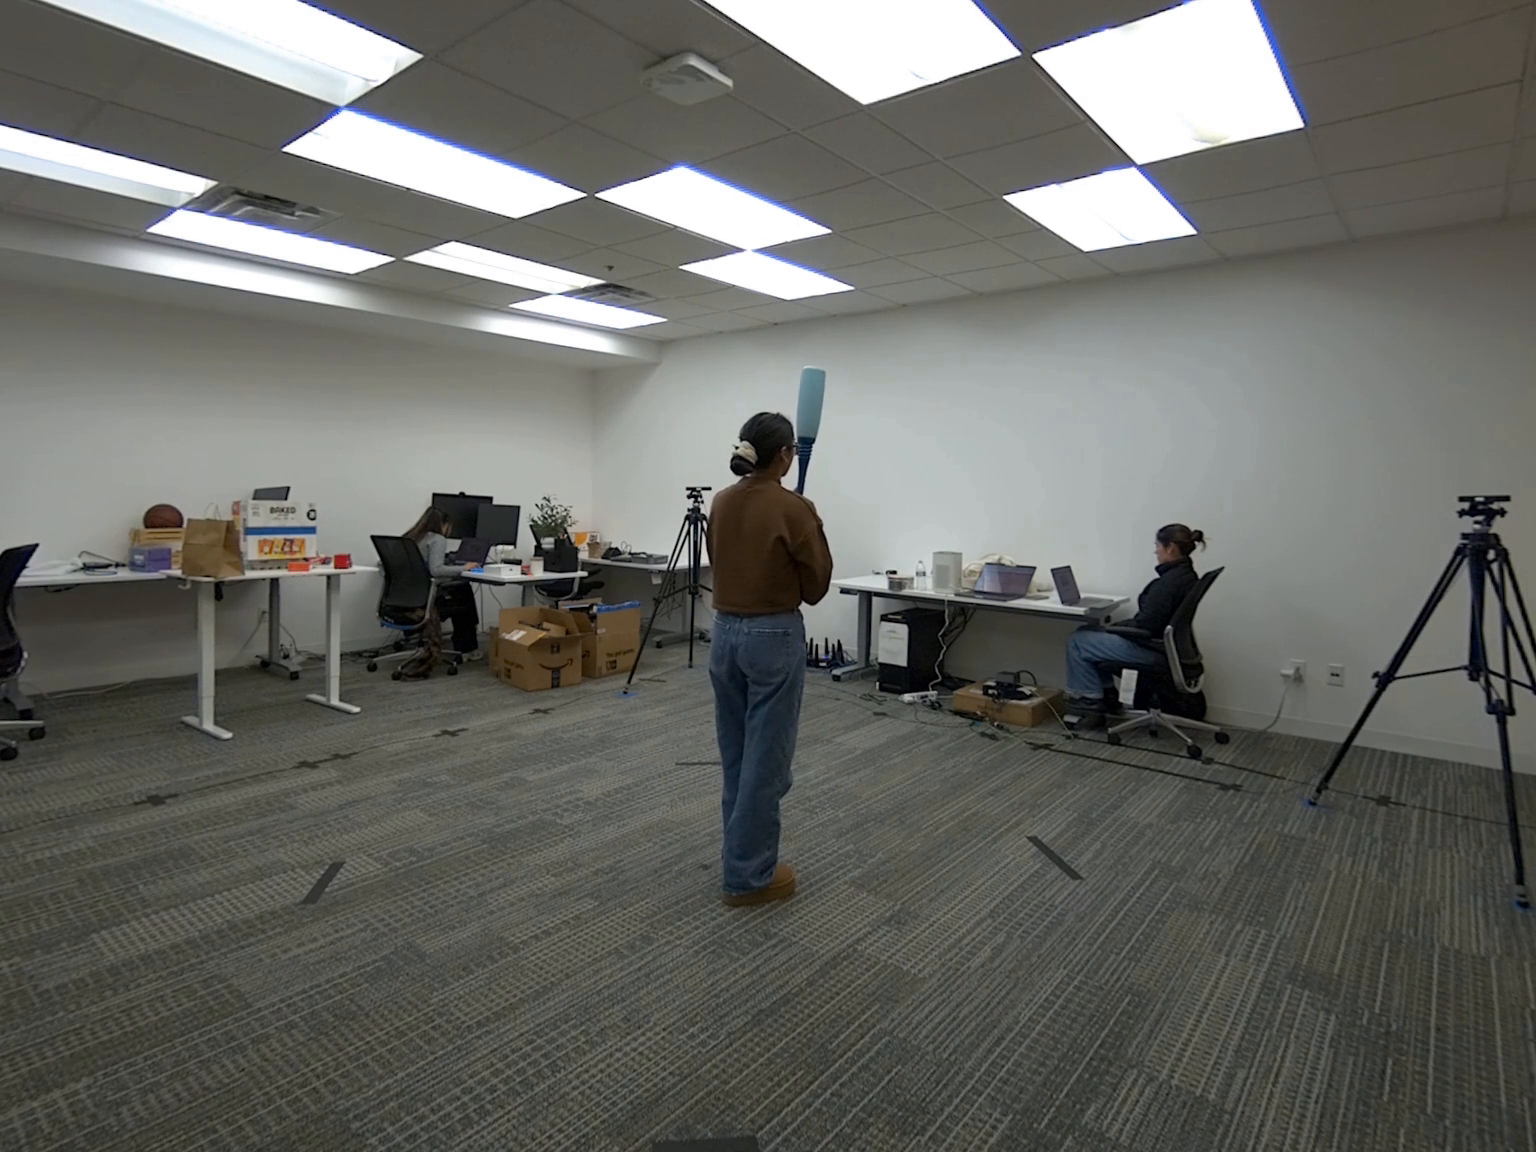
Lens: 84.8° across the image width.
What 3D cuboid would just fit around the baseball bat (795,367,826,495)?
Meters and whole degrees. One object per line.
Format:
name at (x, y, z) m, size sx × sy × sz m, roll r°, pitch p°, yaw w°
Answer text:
baseball bat at (0.123, -0.473, 3.015) m, size 0.089 × 0.542 × 0.089 m, roll 6°, pitch 2°, yaw -2°
